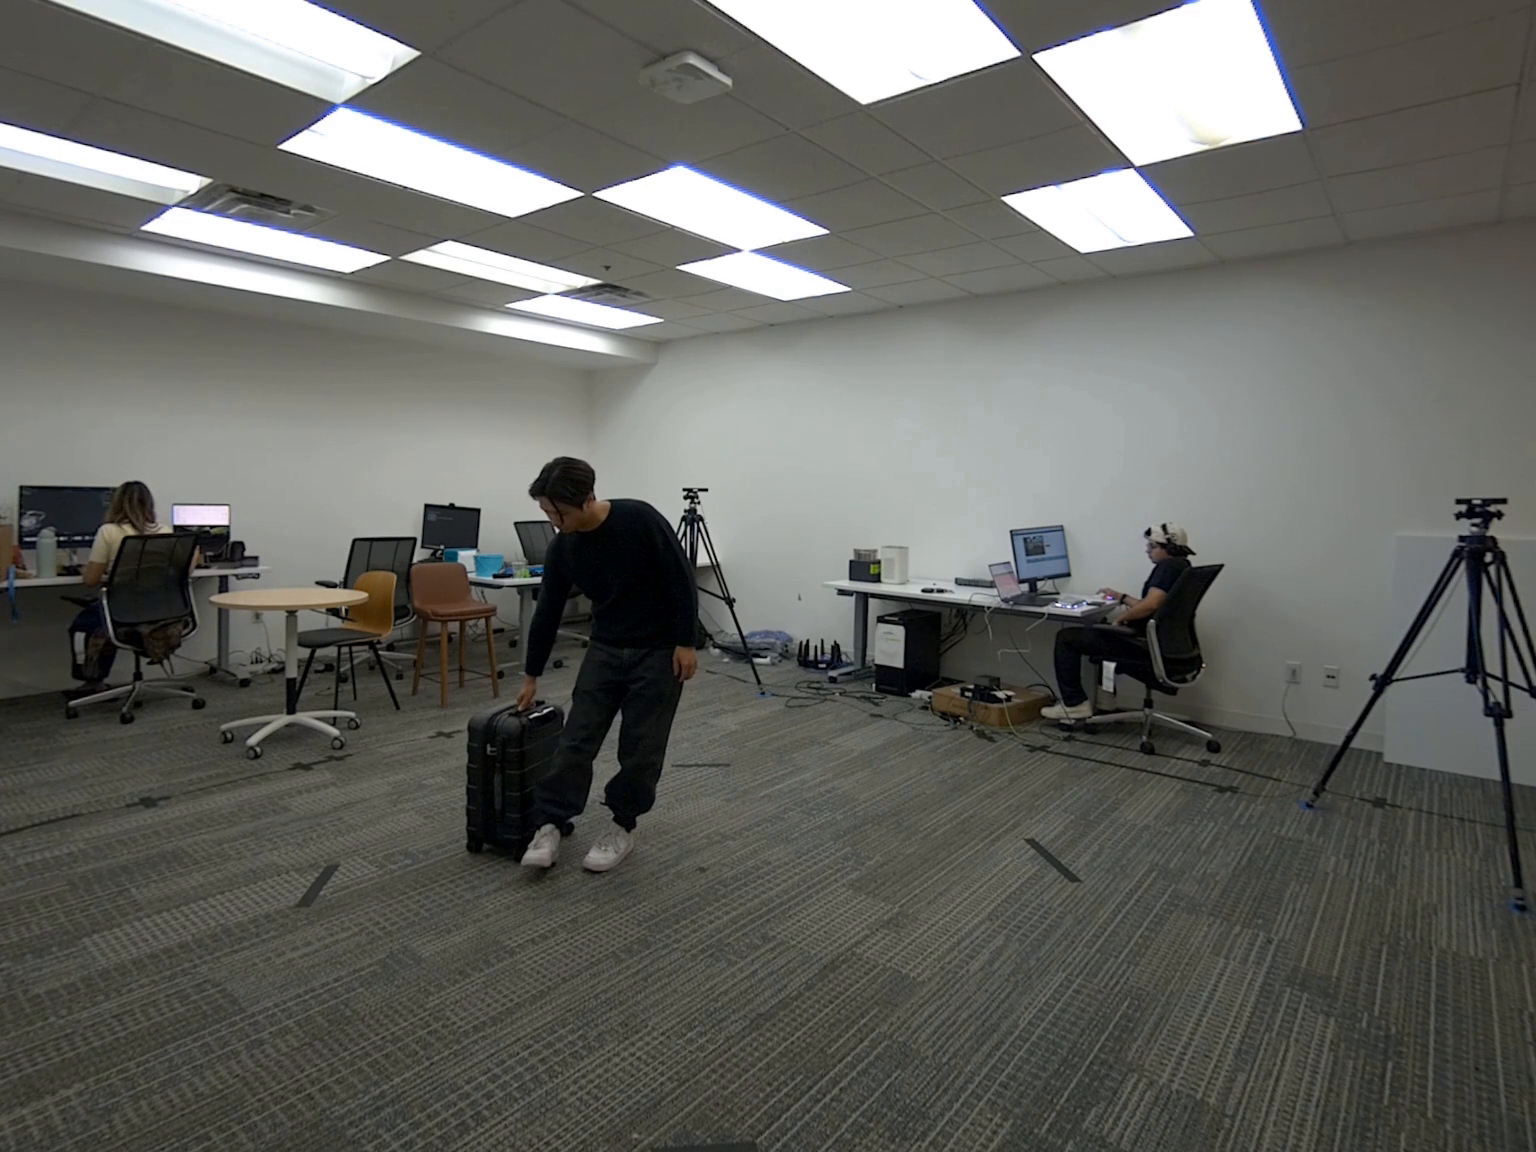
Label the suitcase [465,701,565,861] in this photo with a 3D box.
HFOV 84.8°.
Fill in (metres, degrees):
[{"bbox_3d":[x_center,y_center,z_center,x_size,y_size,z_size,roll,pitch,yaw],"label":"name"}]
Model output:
[{"bbox_3d":[-0.983,0.763,3.290,0.254,0.547,0.368,1,4,21],"label":"suitcase"}]
